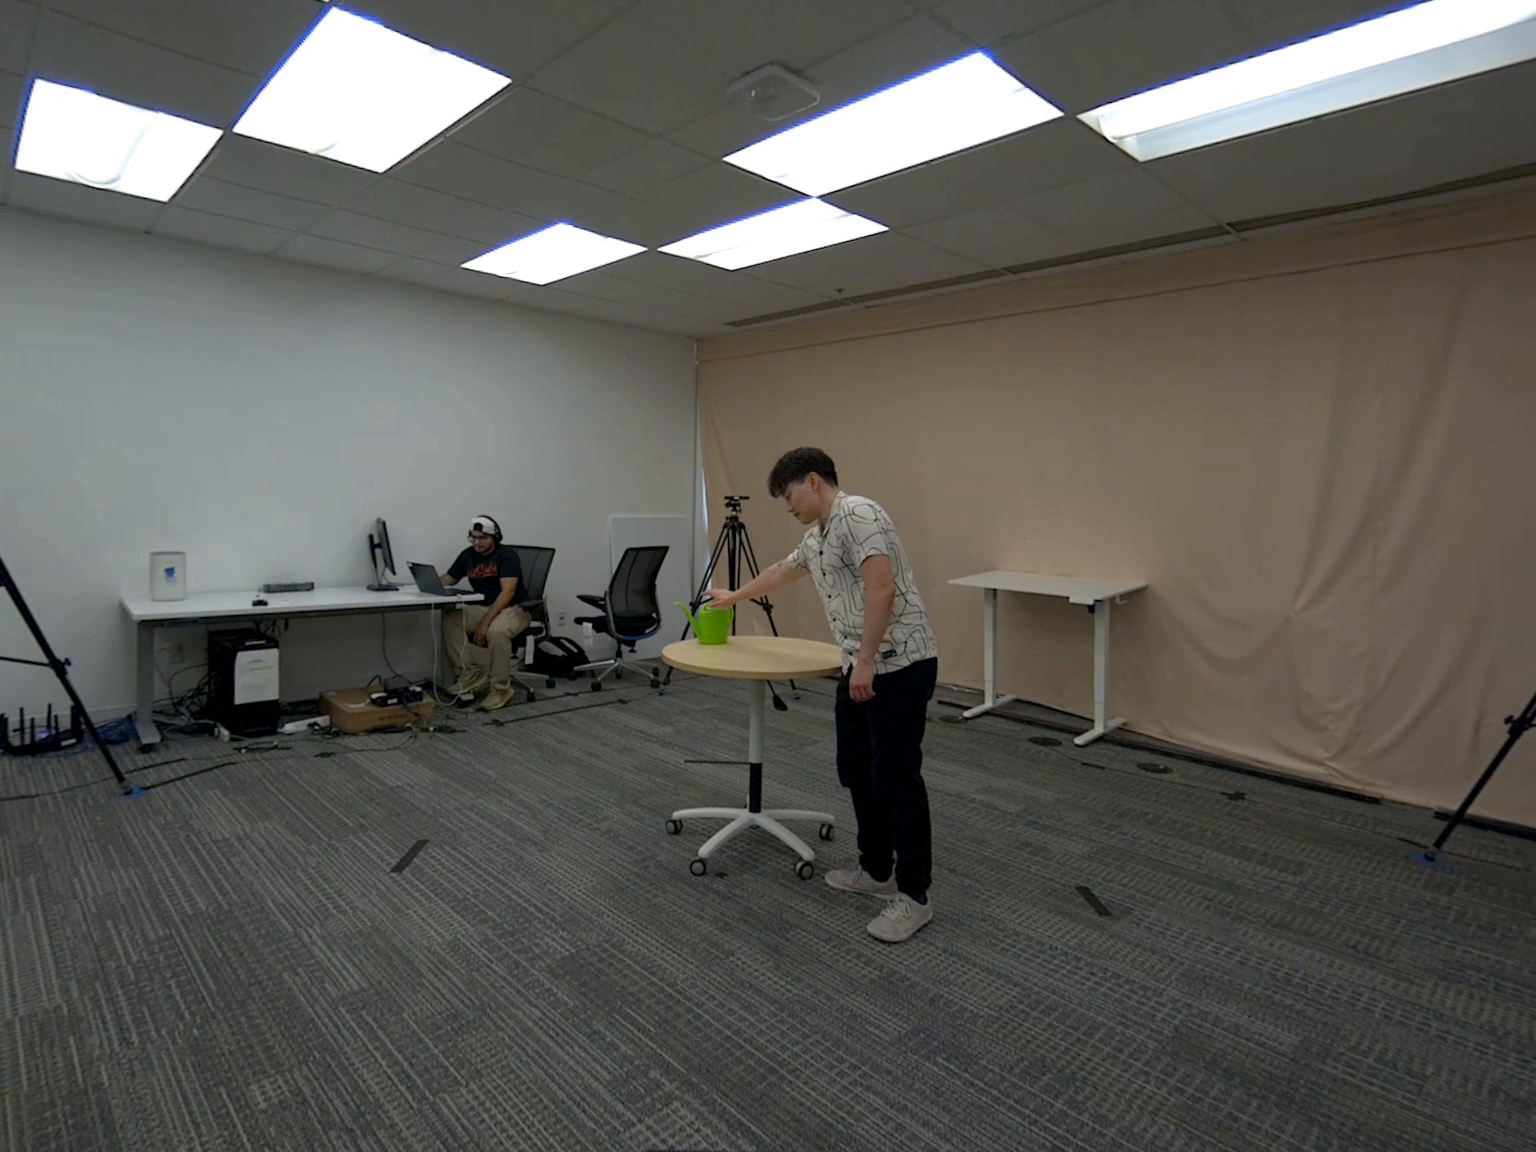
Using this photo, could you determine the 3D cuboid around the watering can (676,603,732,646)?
[{"bbox_3d":[-0.286,0.191,3.513,0.274,0.176,0.100,3,7,-17],"label":"watering can"}]
